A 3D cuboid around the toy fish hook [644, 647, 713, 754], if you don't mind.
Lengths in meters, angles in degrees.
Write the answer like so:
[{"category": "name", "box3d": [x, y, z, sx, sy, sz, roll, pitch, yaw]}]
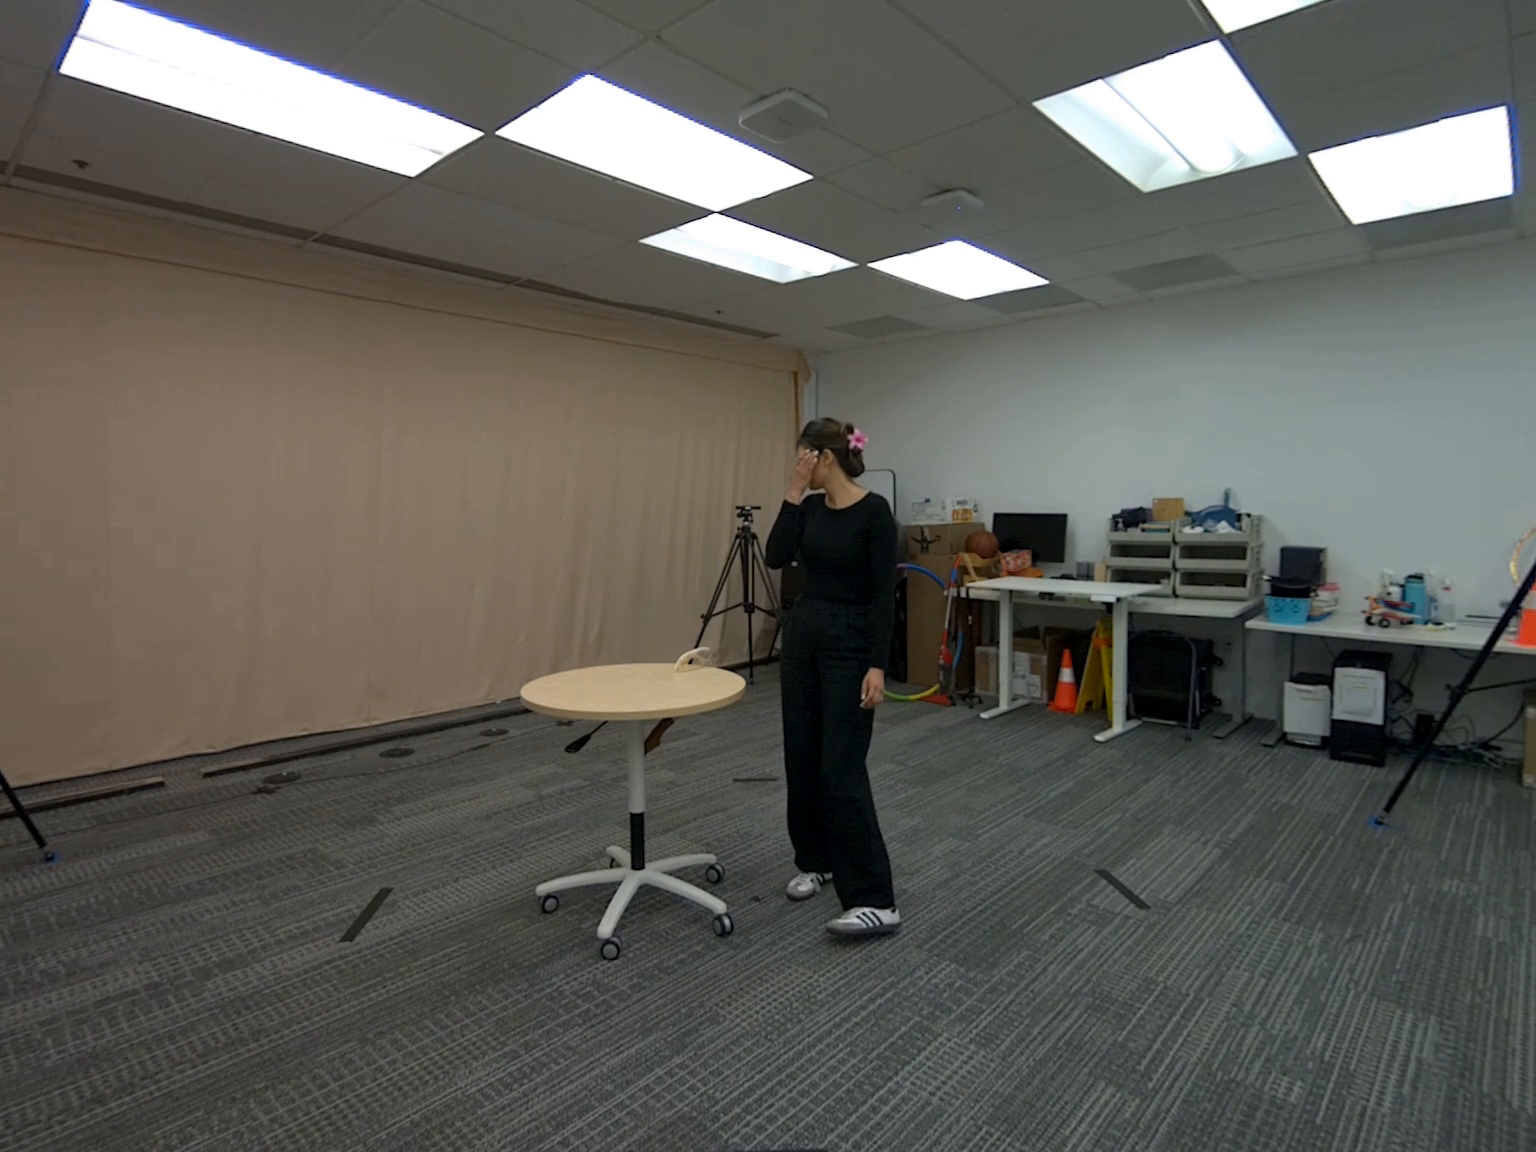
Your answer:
[{"category": "toy fish hook", "box3d": [-0.351, 0.454, 3.086, 0.050, 0.220, 0.501, 0, 32, 38]}]
